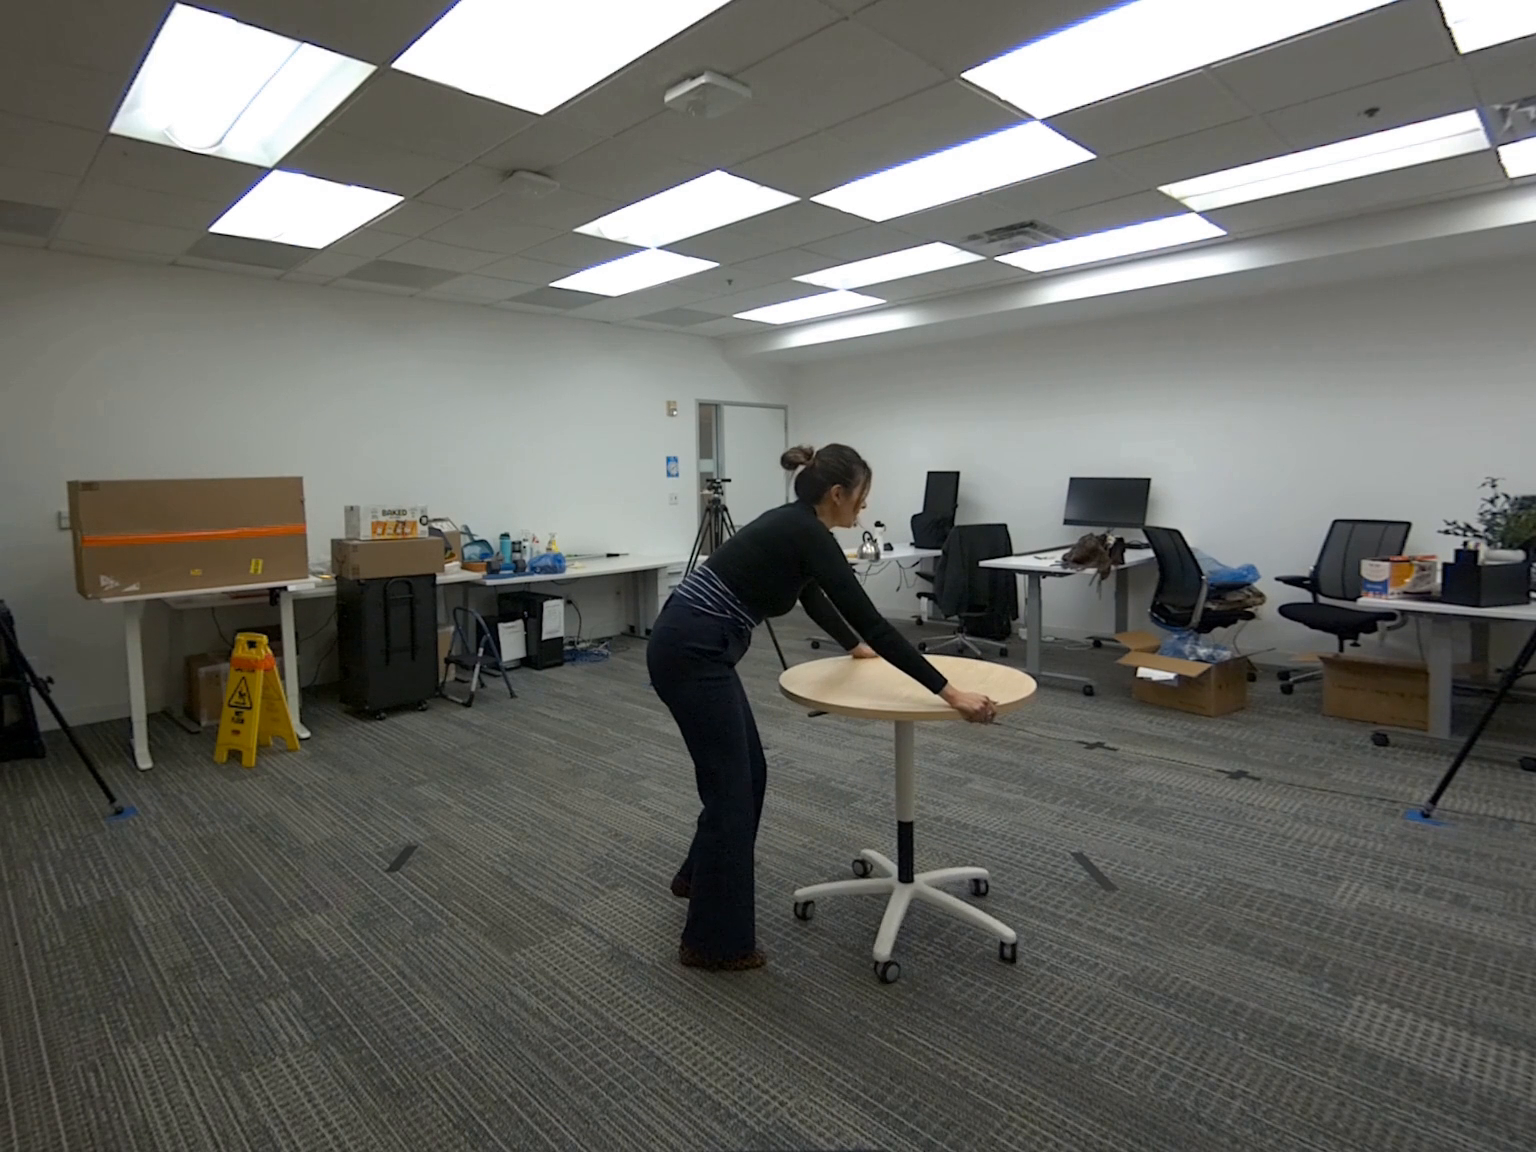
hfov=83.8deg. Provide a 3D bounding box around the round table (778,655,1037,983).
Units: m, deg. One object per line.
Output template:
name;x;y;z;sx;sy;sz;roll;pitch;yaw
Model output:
round table;0.429;0.703;2.656;0.763;0.791;0.768;-1;5;-2
